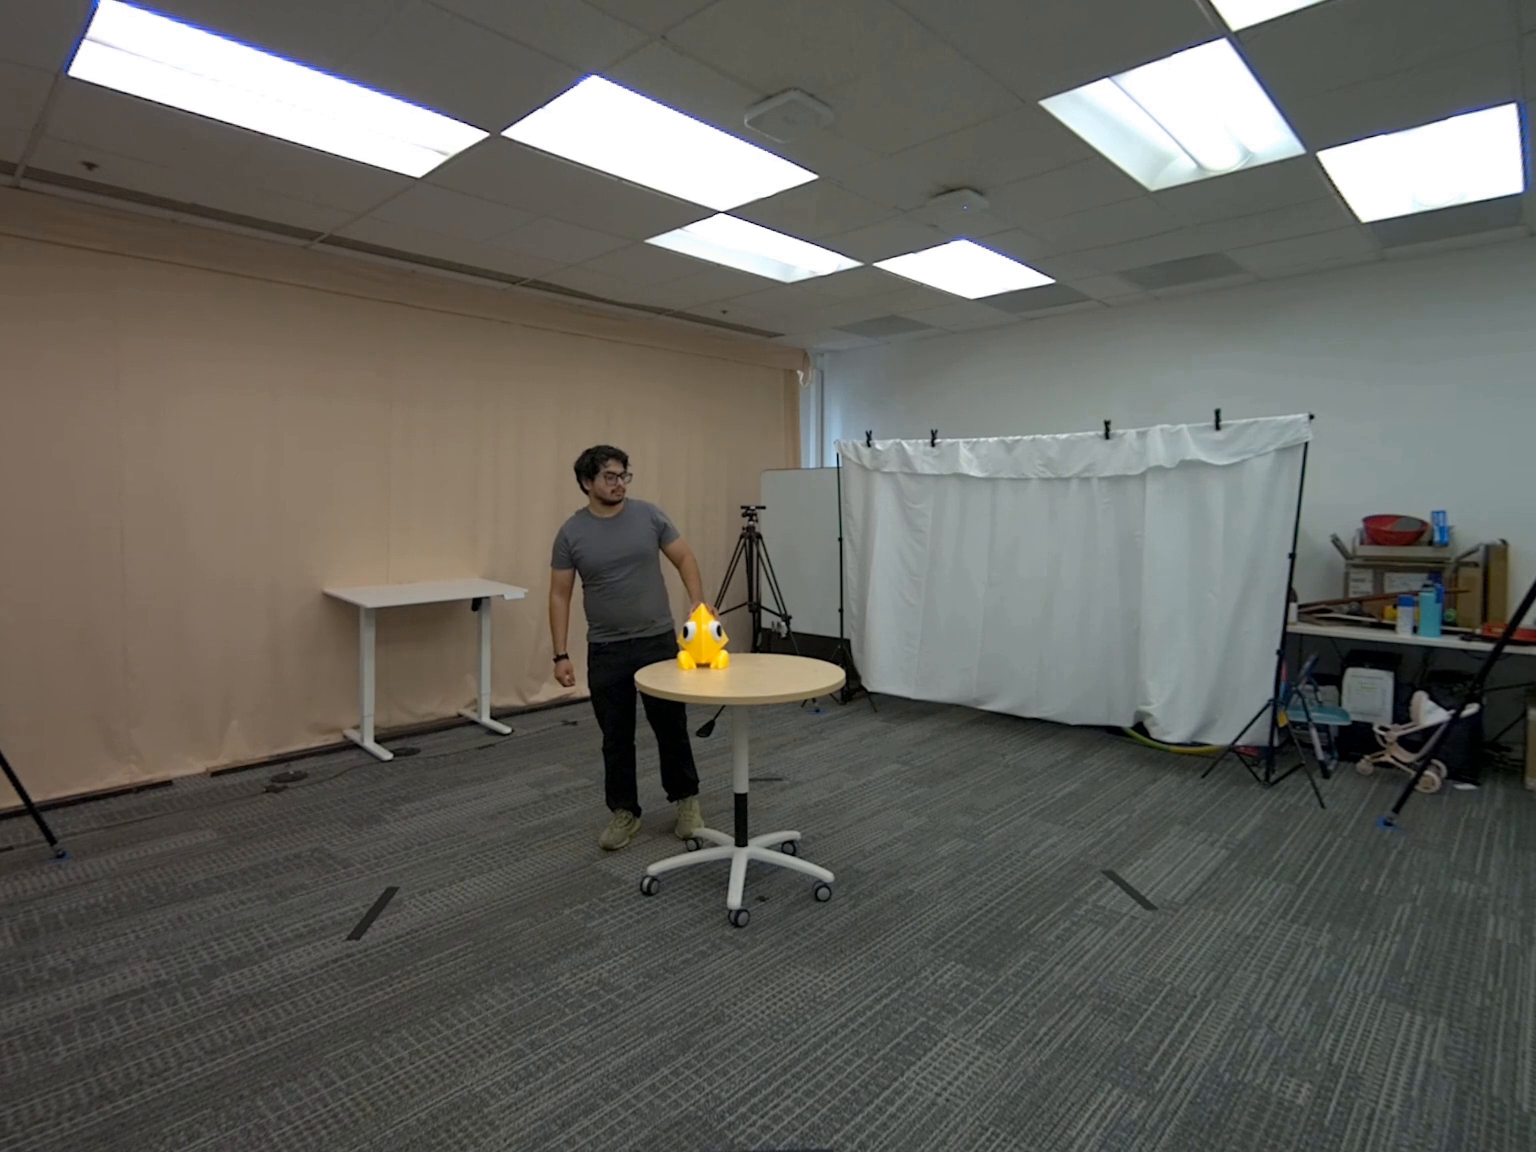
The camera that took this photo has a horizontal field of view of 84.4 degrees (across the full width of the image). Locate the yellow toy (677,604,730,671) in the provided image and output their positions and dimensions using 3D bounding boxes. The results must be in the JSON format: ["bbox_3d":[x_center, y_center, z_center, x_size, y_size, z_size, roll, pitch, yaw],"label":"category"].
[{"bbox_3d":[-0.246,0.224,3.235,0.204,0.230,0.194,0,2,-3],"label":"yellow toy"}]
